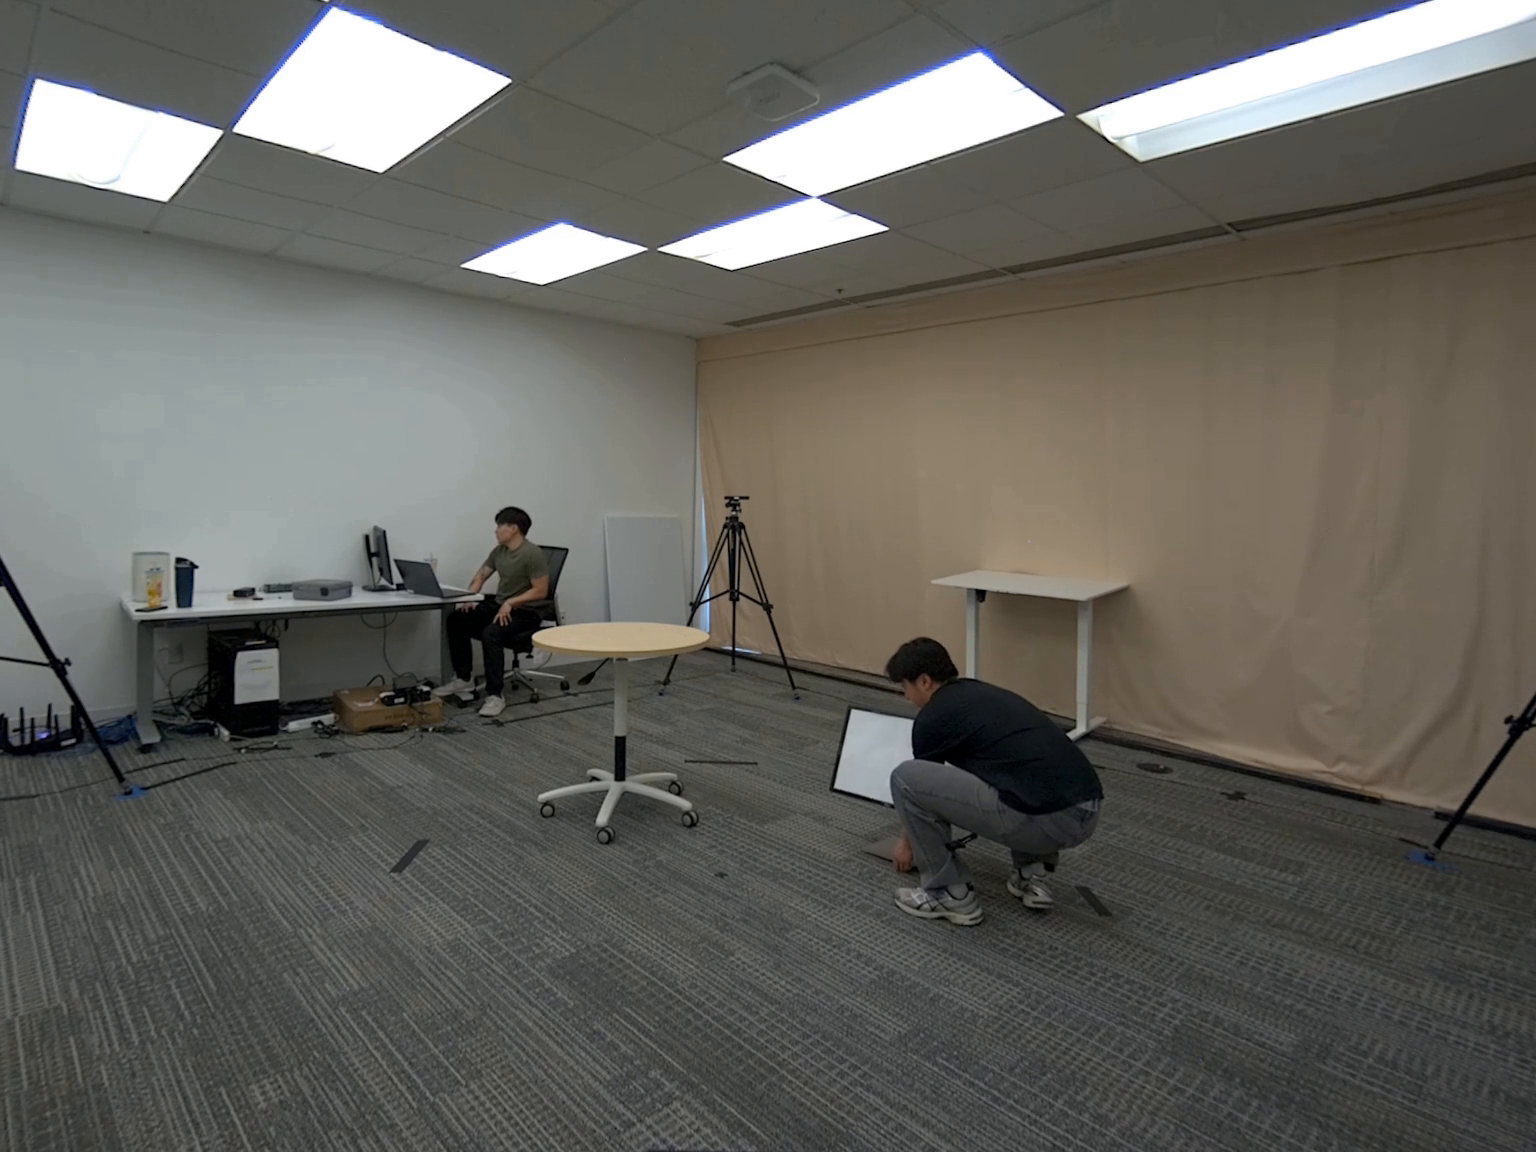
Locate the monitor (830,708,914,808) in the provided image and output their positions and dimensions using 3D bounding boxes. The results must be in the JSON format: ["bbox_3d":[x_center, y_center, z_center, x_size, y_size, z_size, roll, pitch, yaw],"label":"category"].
[{"bbox_3d":[0.527,0.834,3.324,0.575,0.566,0.217,1,0,43],"label":"monitor"}]
